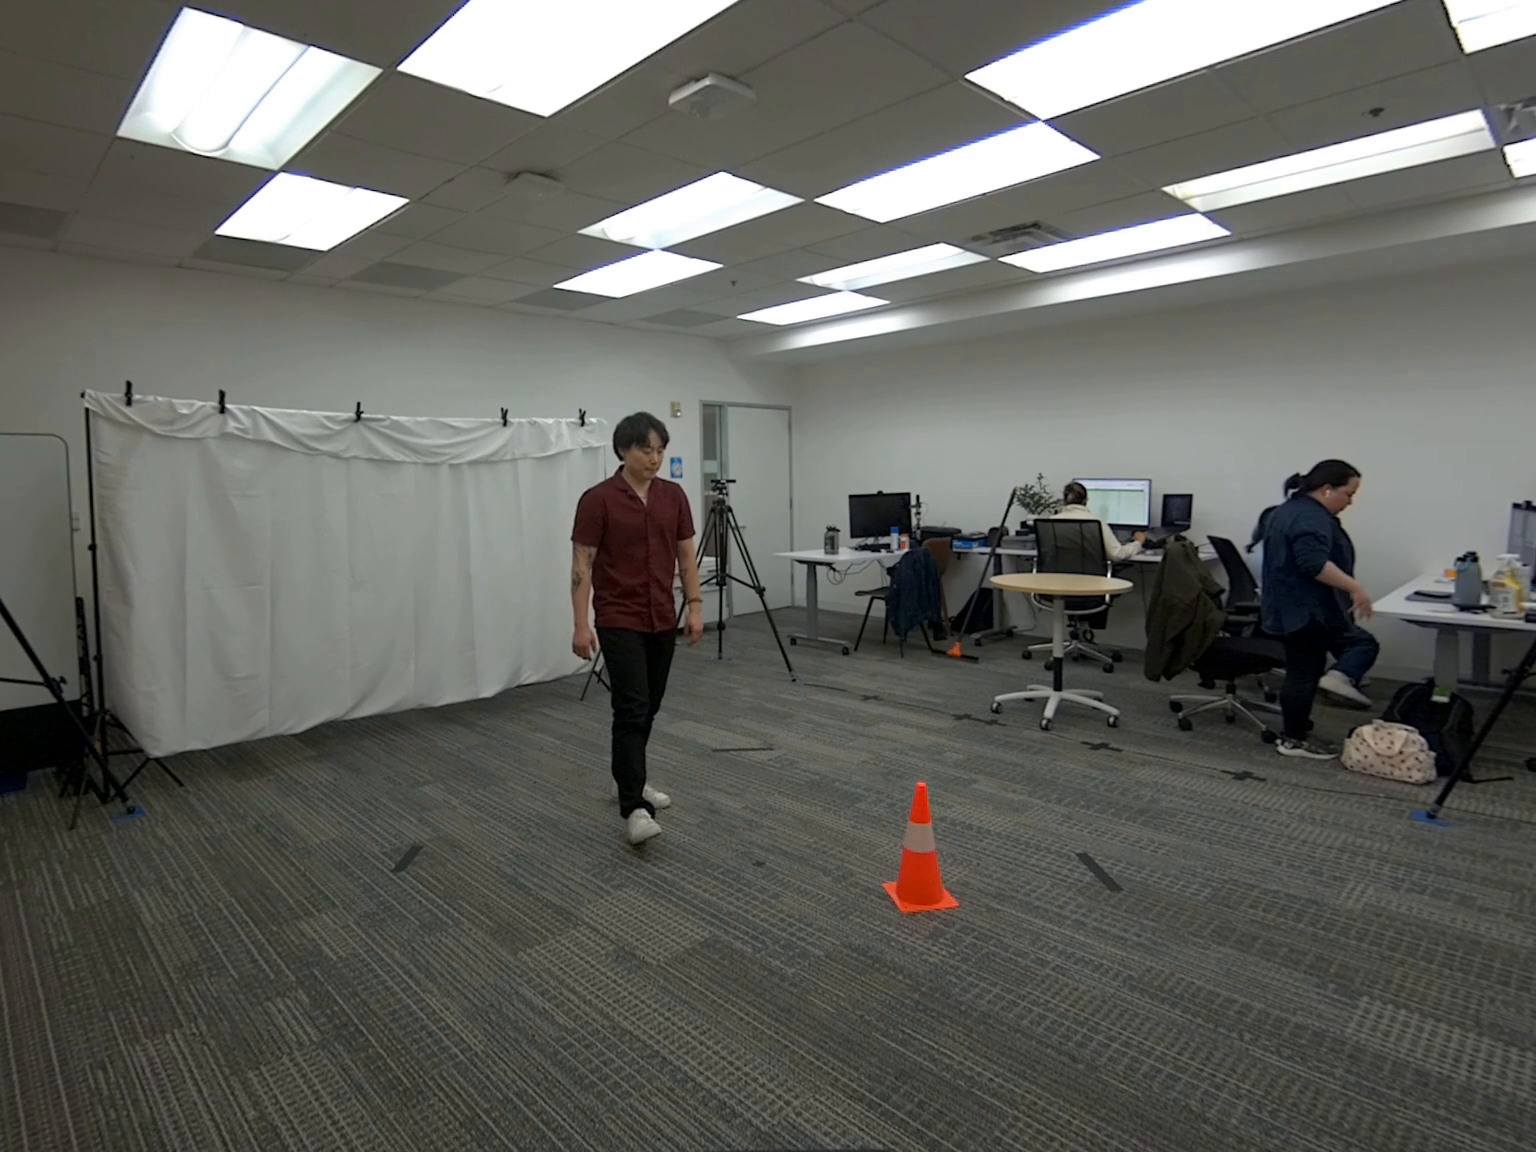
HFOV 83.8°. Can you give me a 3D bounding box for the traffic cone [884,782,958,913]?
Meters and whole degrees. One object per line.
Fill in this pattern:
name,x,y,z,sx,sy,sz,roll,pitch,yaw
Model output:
traffic cone,0.517,0.881,2.842,0.203,0.382,0.206,-1,5,-9
